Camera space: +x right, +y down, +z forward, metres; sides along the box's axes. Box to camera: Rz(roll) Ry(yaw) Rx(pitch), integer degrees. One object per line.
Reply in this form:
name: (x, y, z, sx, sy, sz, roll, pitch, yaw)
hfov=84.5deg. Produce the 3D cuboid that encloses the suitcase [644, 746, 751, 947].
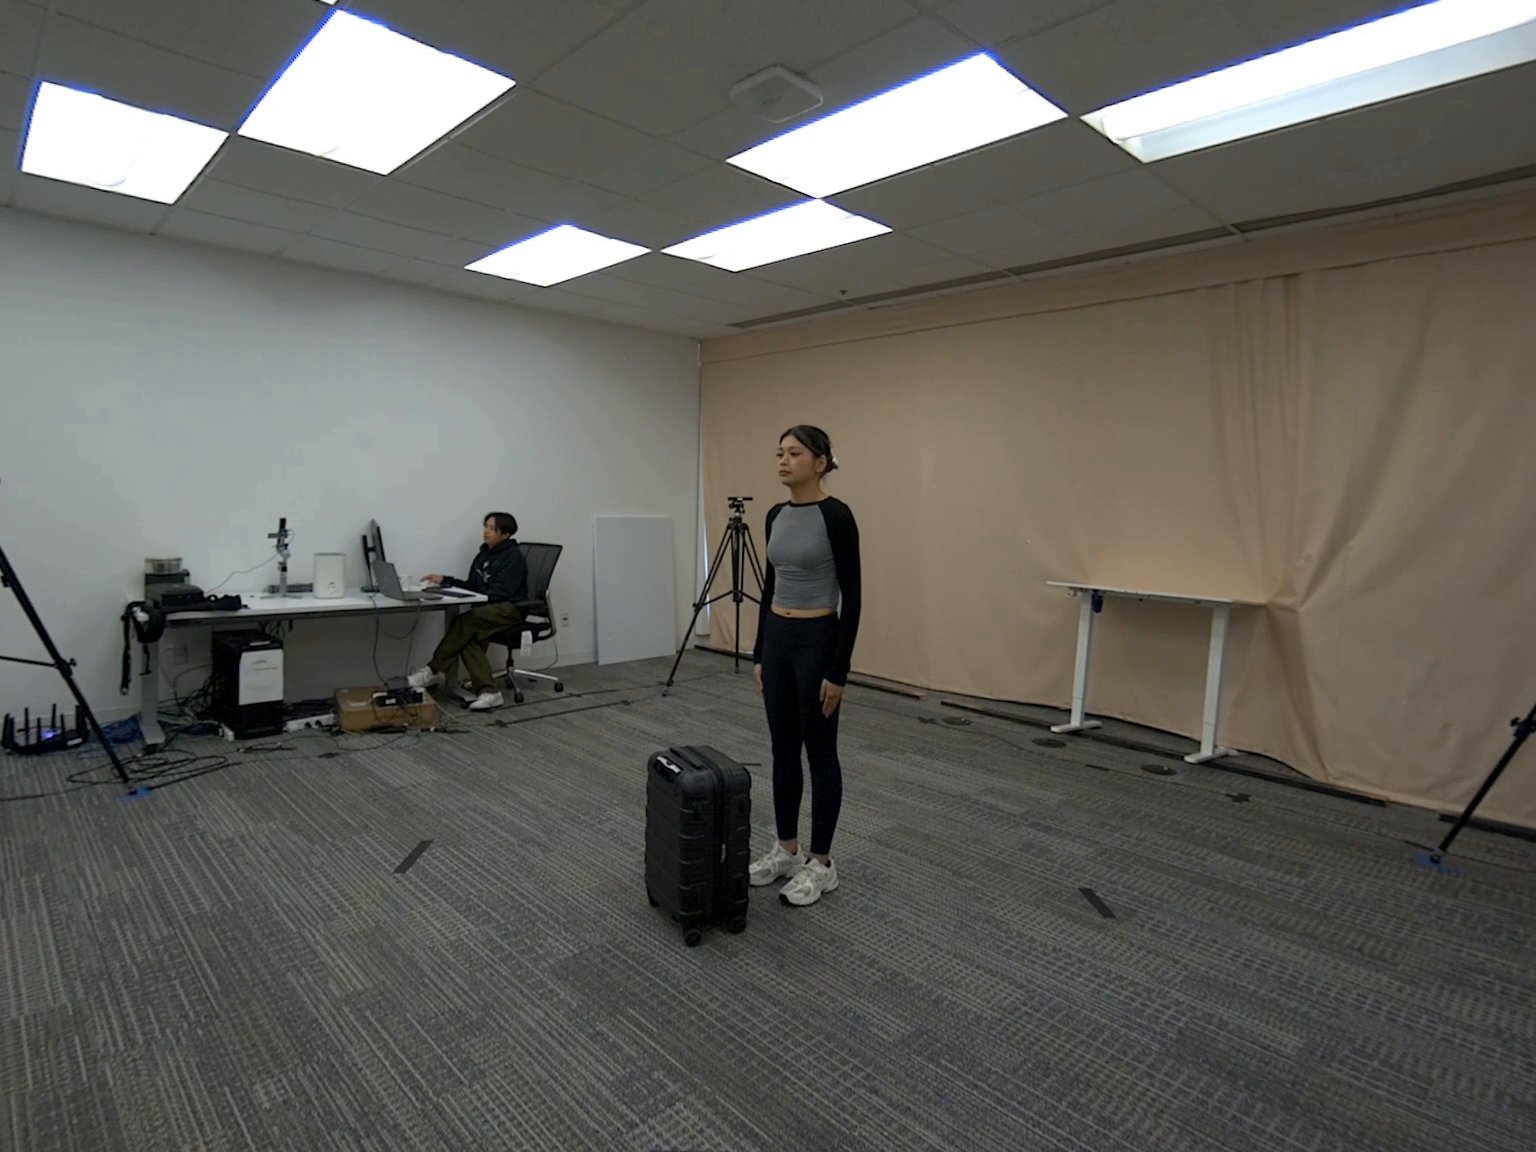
suitcase: (-0.241, 0.855, 2.784, 0.243, 0.548, 0.383, 0, 3, -29)
